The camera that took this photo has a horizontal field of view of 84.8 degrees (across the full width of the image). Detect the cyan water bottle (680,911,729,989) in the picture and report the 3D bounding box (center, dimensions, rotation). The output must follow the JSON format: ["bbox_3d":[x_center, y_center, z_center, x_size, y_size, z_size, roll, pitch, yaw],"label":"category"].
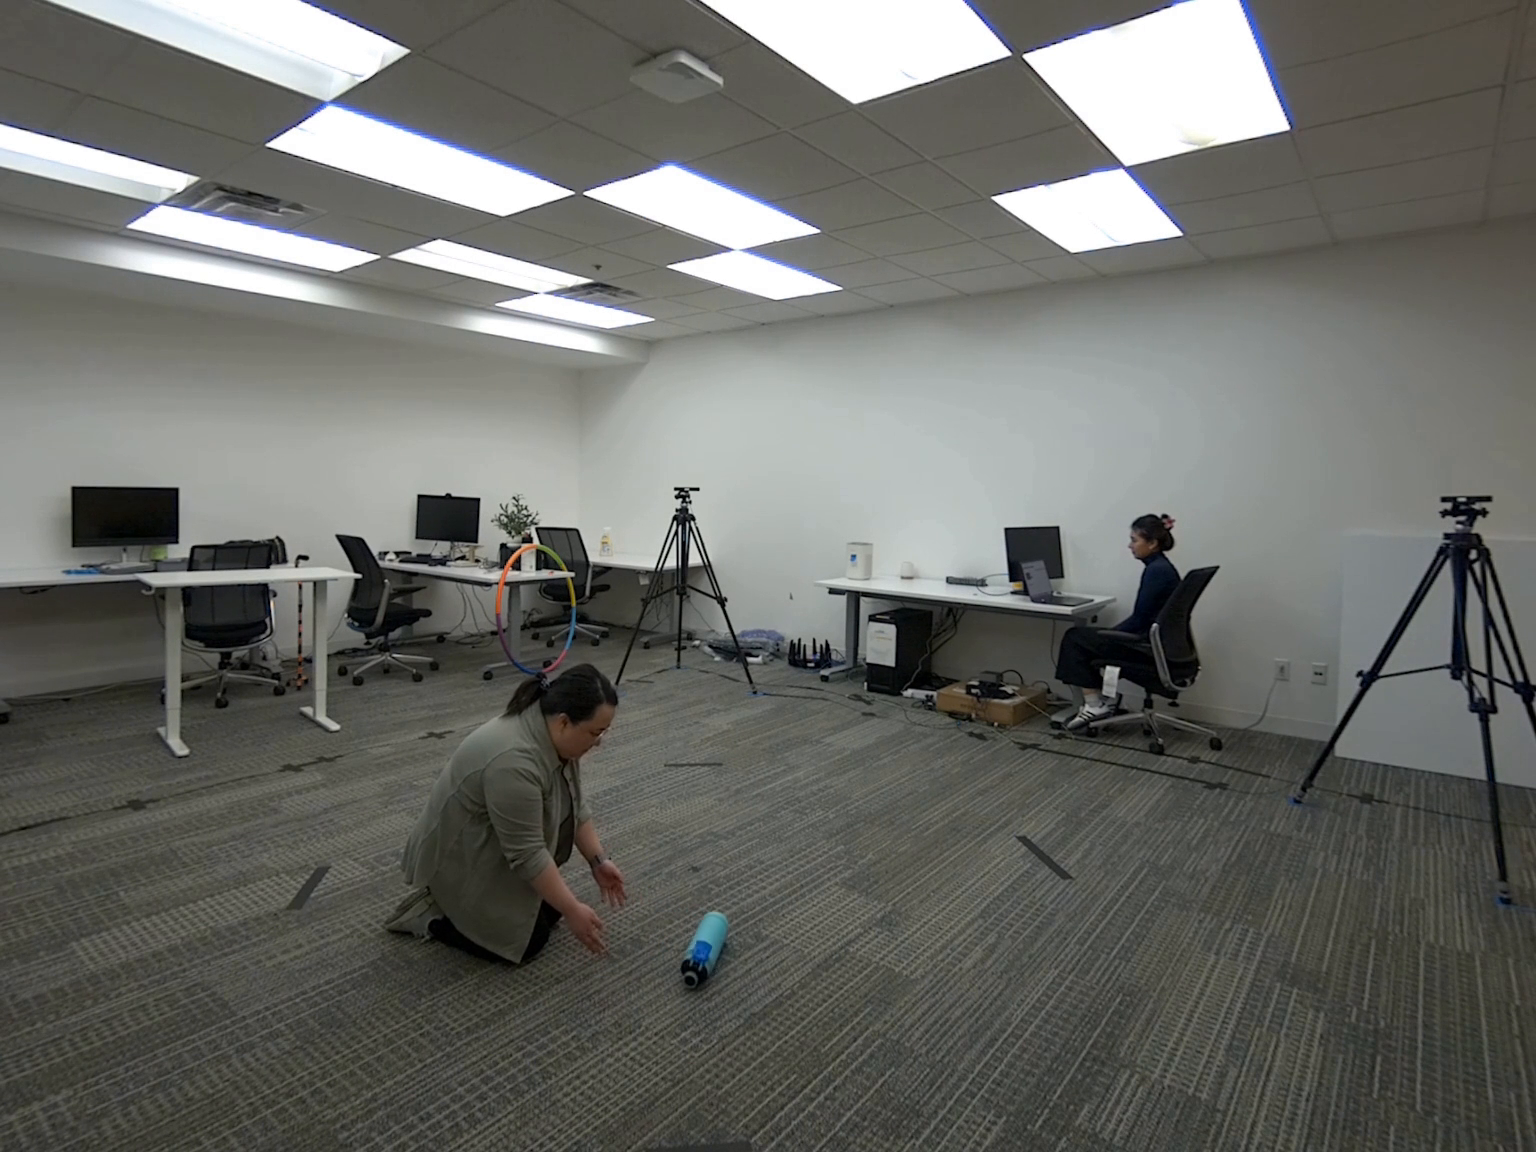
[{"bbox_3d":[-0.192,1.086,2.469,0.093,0.092,0.281,2,5,10],"label":"cyan water bottle"}]
